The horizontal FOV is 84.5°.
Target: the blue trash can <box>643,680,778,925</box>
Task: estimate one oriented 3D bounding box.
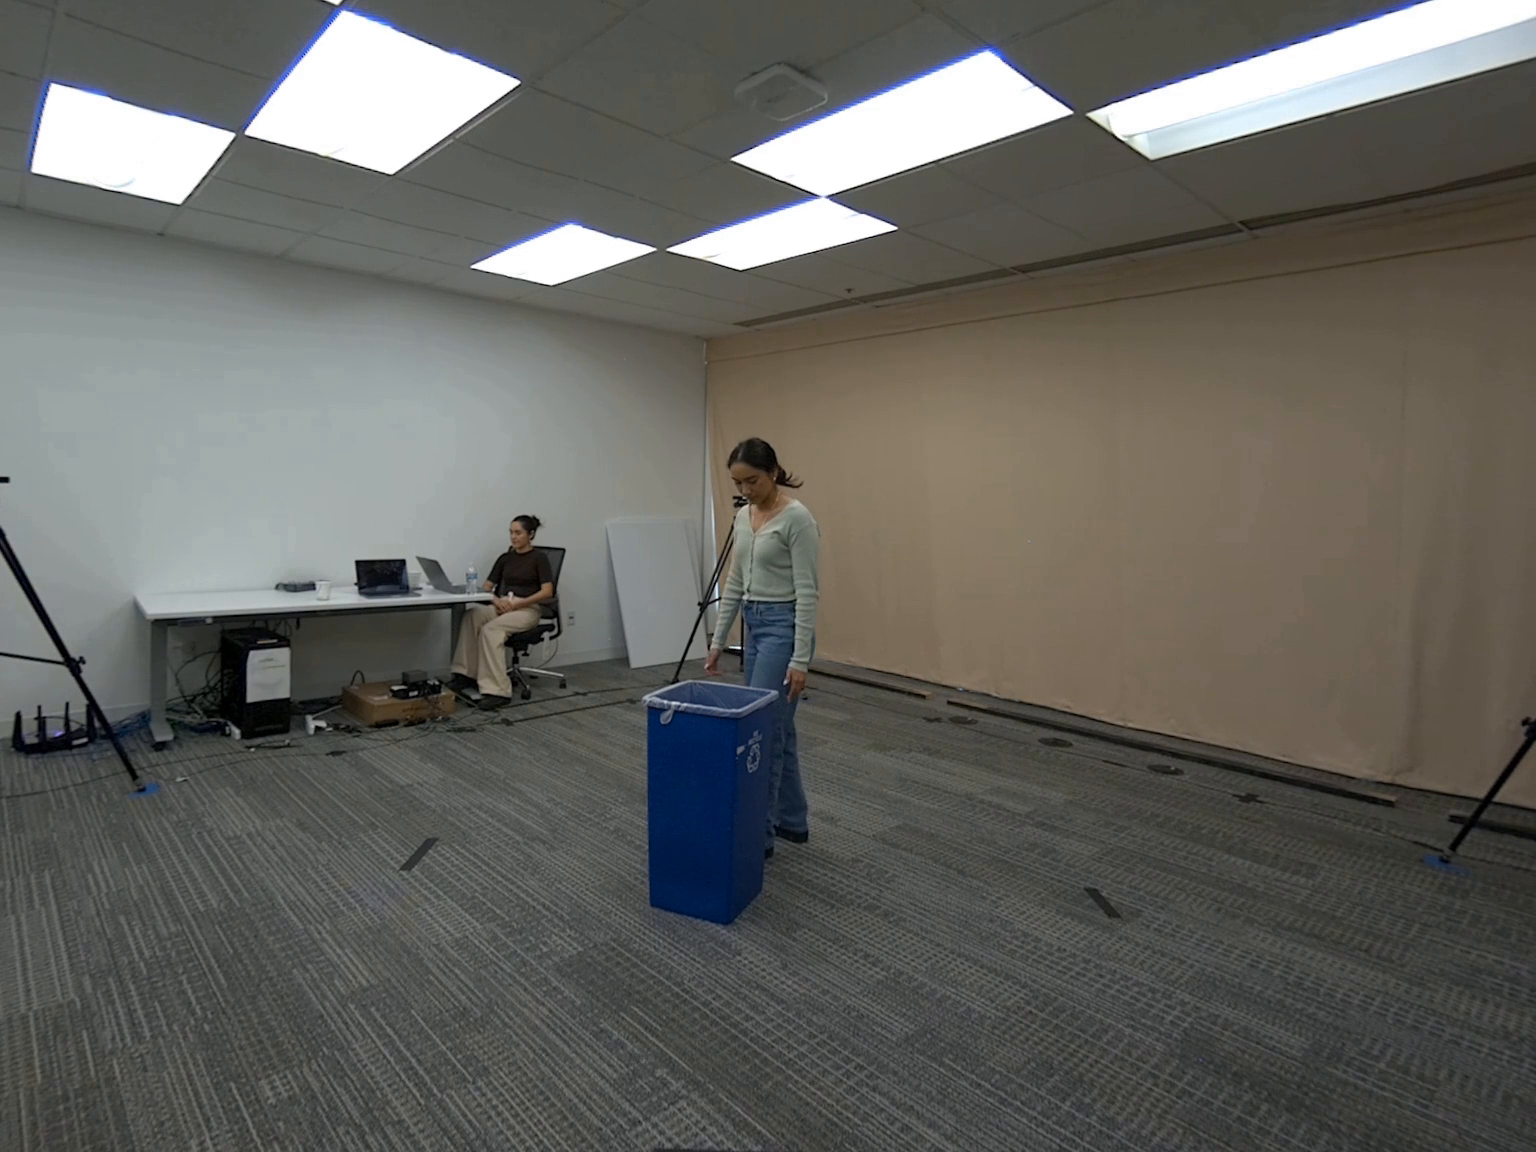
[{"bbox_3d":[-0.207,0.761,2.913,0.385,0.712,0.368,3,3,24],"label":"blue trash can"}]
